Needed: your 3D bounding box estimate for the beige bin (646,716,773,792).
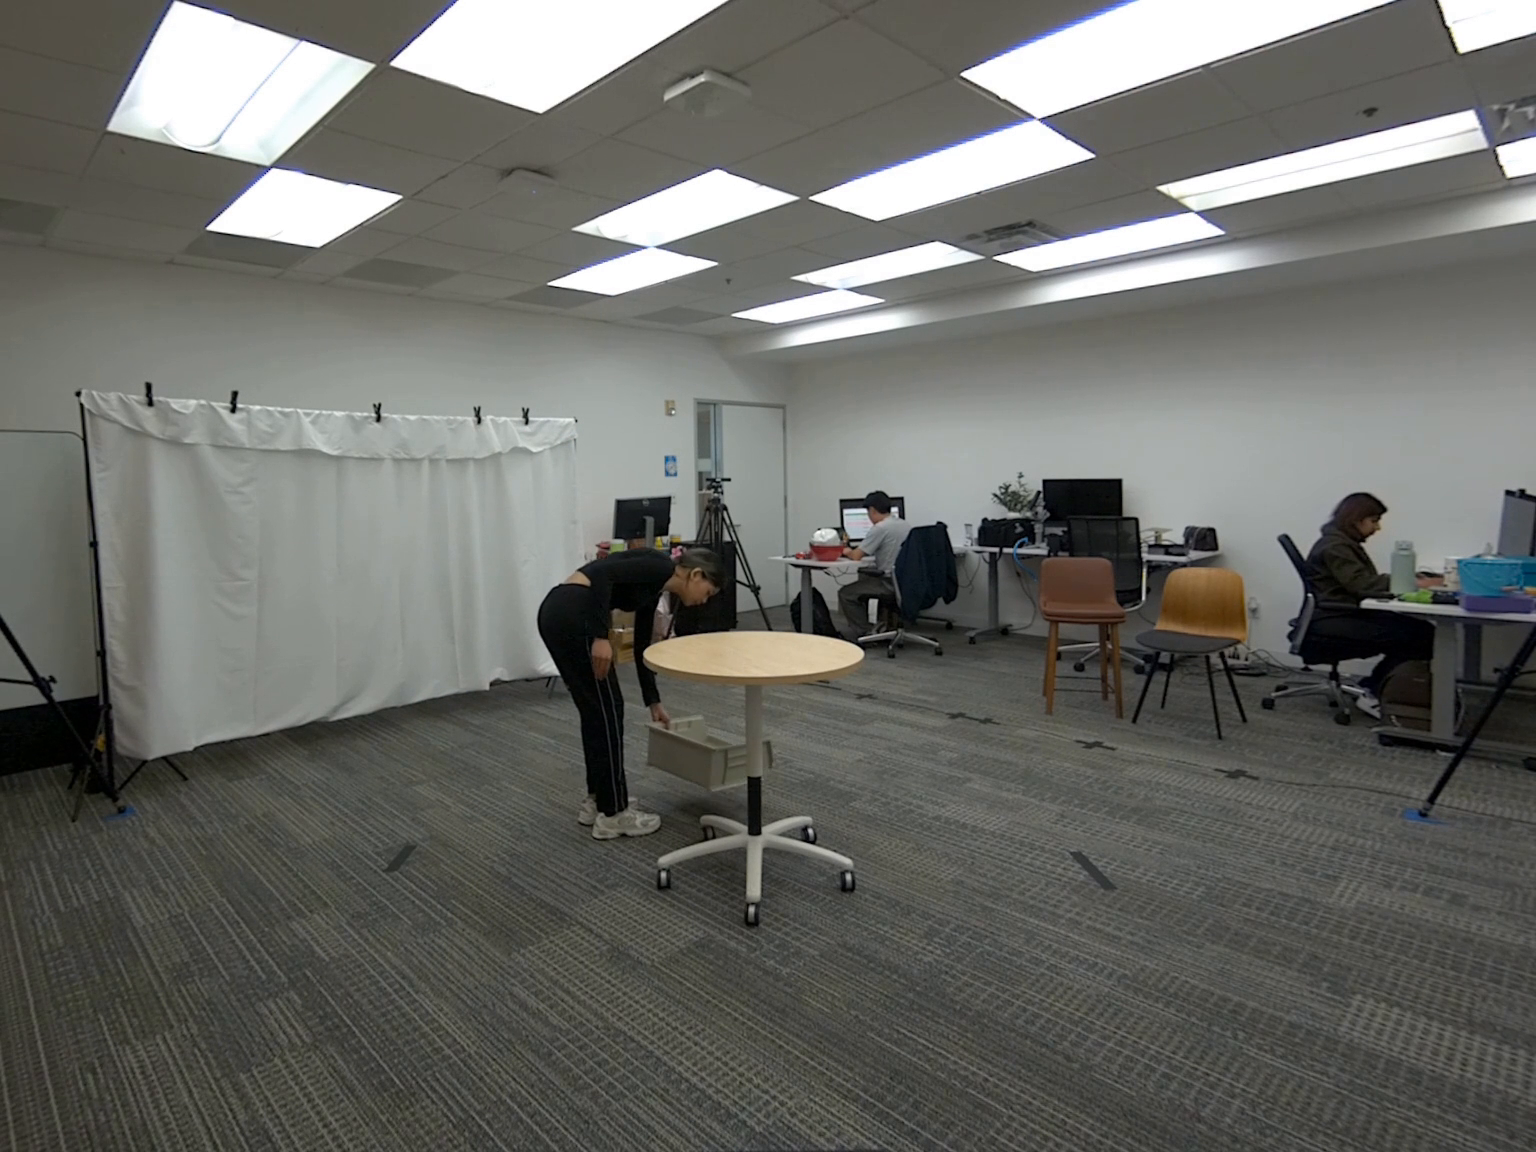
[{"bbox_3d":[-0.254,0.743,3.644,0.436,0.188,0.366,9,7,43],"label":"beige bin"}]
